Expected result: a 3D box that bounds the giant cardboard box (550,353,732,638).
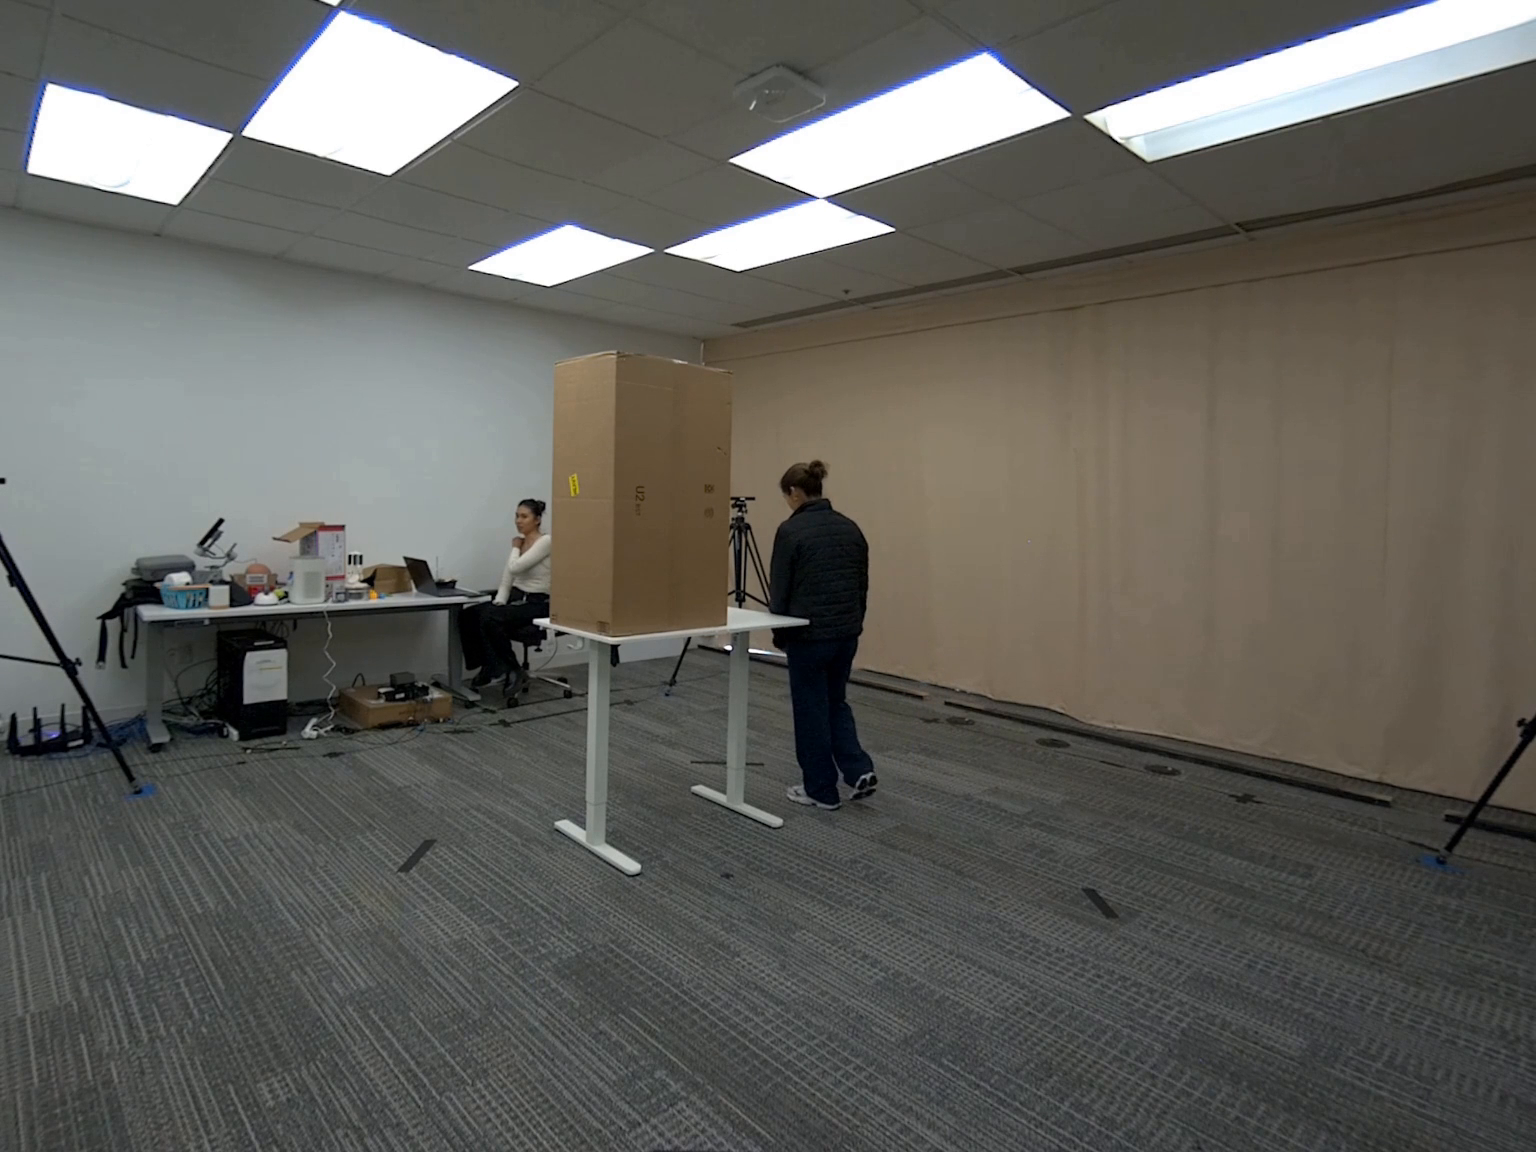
[{"bbox_3d":[-0.503,-0.311,3.324,0.564,1.024,0.437,-1,4,-45],"label":"giant cardboard box"}]
